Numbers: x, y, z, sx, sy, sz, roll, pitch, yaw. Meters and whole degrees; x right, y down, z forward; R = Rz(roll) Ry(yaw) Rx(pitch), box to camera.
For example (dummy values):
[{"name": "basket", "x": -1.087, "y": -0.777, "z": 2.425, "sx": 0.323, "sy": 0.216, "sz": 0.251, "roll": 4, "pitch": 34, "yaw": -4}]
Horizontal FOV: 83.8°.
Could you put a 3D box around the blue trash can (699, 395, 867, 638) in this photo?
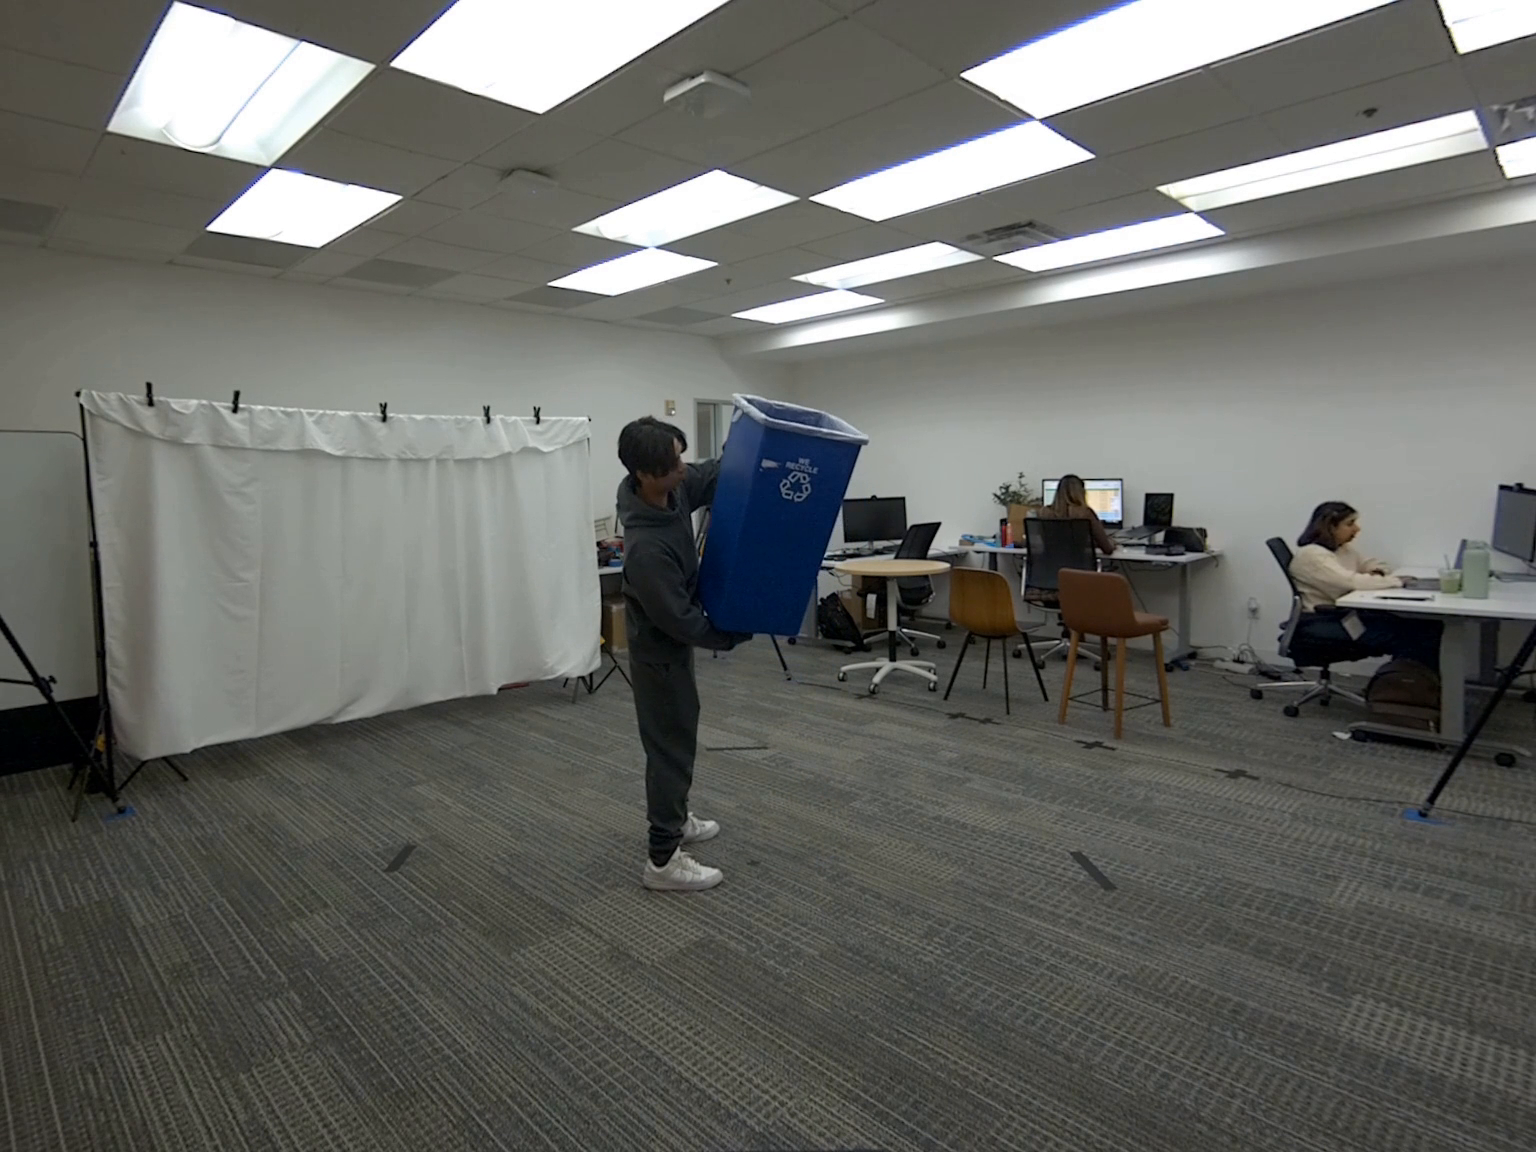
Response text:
[{"name": "blue trash can", "x": 0.019, "y": -0.196, "z": 2.854, "sx": 0.366, "sy": 0.705, "sz": 0.390, "roll": 7, "pitch": 19, "yaw": -21}]
